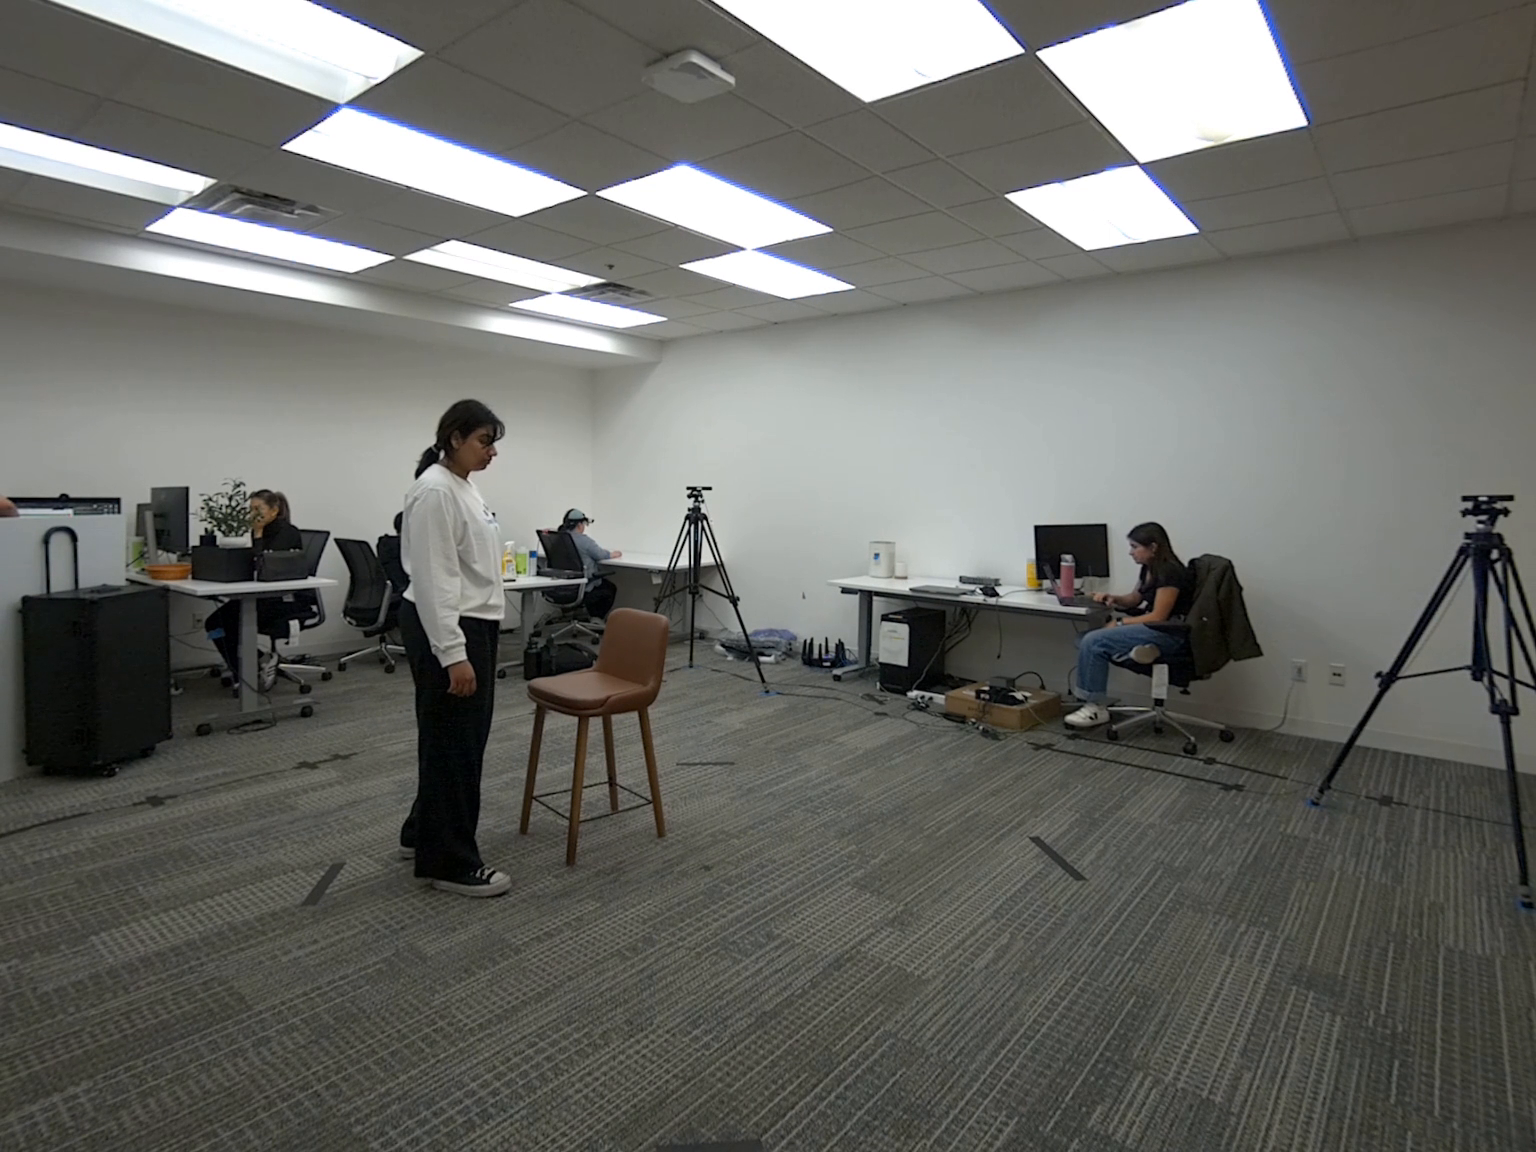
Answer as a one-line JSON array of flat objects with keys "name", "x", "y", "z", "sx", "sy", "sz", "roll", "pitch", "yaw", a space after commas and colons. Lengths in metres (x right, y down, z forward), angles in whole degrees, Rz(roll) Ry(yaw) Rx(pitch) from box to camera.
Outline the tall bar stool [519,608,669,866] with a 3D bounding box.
[{"name": "tall bar stool", "x": -0.691, "y": 0.595, "z": 3.376, "sx": 0.453, "sy": 0.888, "sz": 0.472, "roll": 0, "pitch": 3, "yaw": -41}]
